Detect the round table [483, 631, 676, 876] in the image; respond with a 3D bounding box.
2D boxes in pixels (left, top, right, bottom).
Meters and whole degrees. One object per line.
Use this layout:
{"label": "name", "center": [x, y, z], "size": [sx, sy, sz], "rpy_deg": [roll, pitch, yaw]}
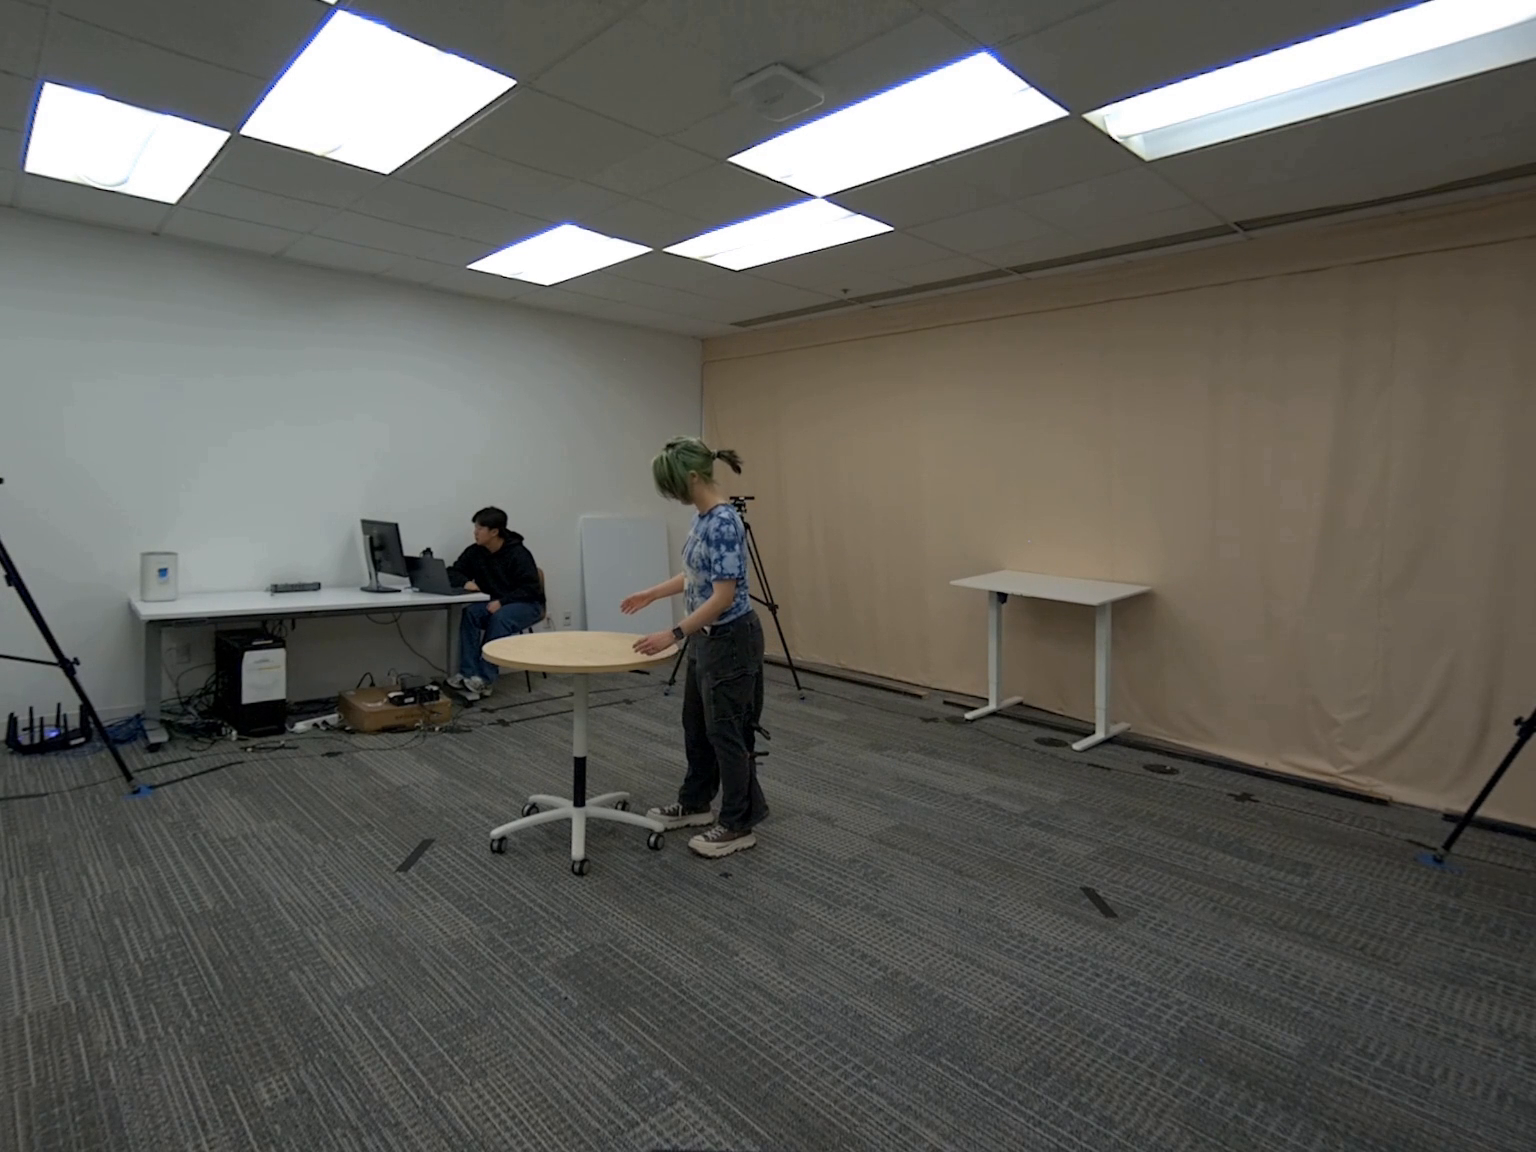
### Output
{"label": "round table", "center": [-0.757, 0.676, 3.365], "size": [0.763, 0.792, 0.766], "rpy_deg": [1, 4, -1]}
